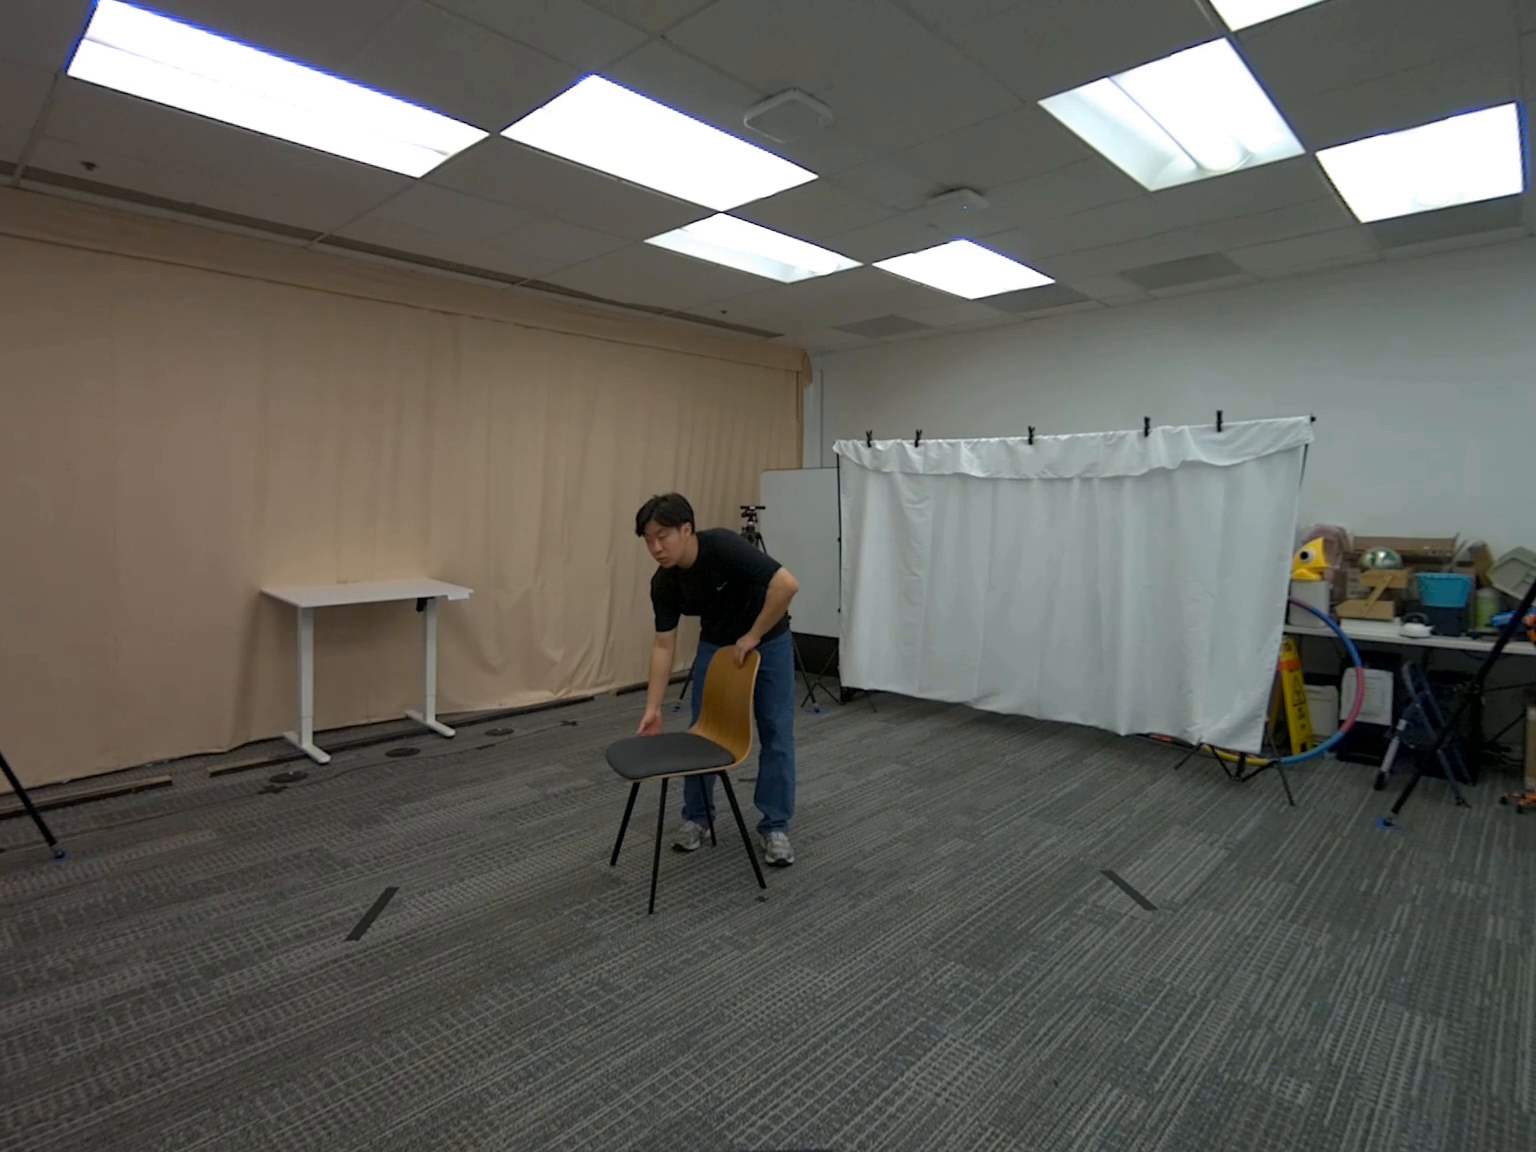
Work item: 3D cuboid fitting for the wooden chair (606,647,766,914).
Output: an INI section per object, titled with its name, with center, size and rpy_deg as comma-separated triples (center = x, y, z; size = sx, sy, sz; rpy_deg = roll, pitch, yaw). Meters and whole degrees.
[wooden chair]
center = -0.315, 0.706, 3.132
size = 0.510, 0.876, 0.491
rpy_deg = 3, 2, -27
